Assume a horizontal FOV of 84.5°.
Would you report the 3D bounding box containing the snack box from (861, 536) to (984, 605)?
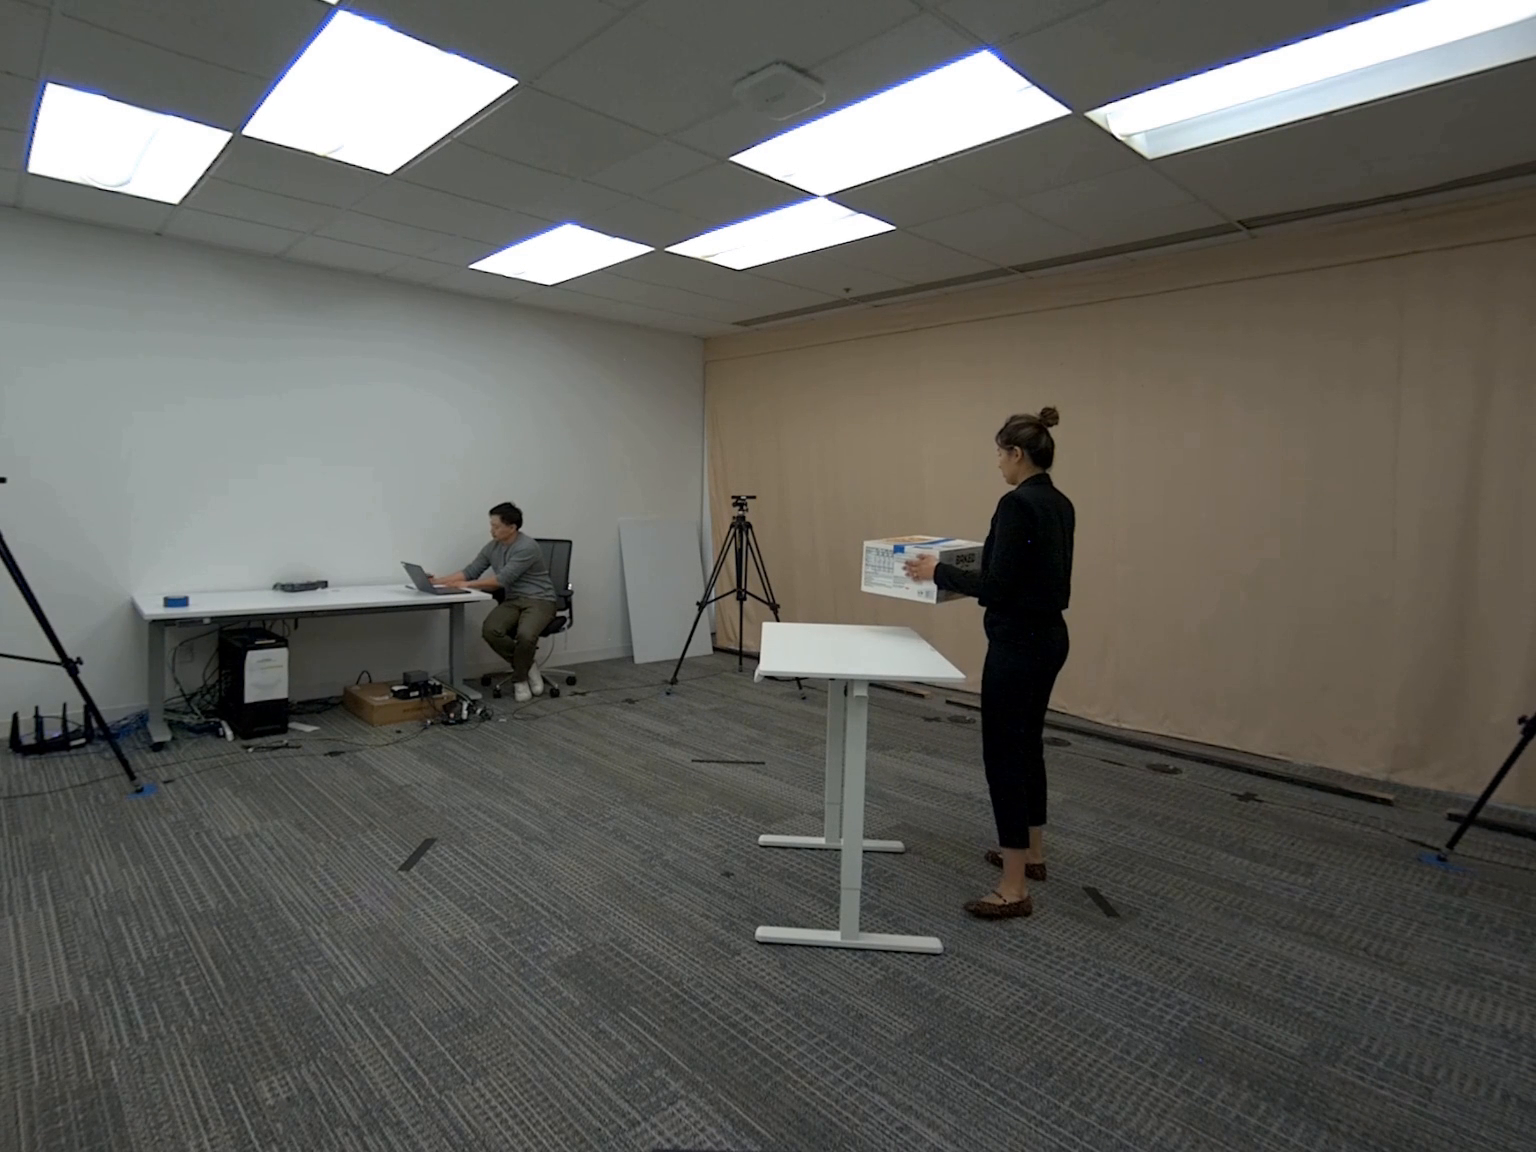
[{"bbox_3d":[0.628,-0.032,3.345,0.349,0.204,0.396,10,11,43],"label":"snack box"}]
